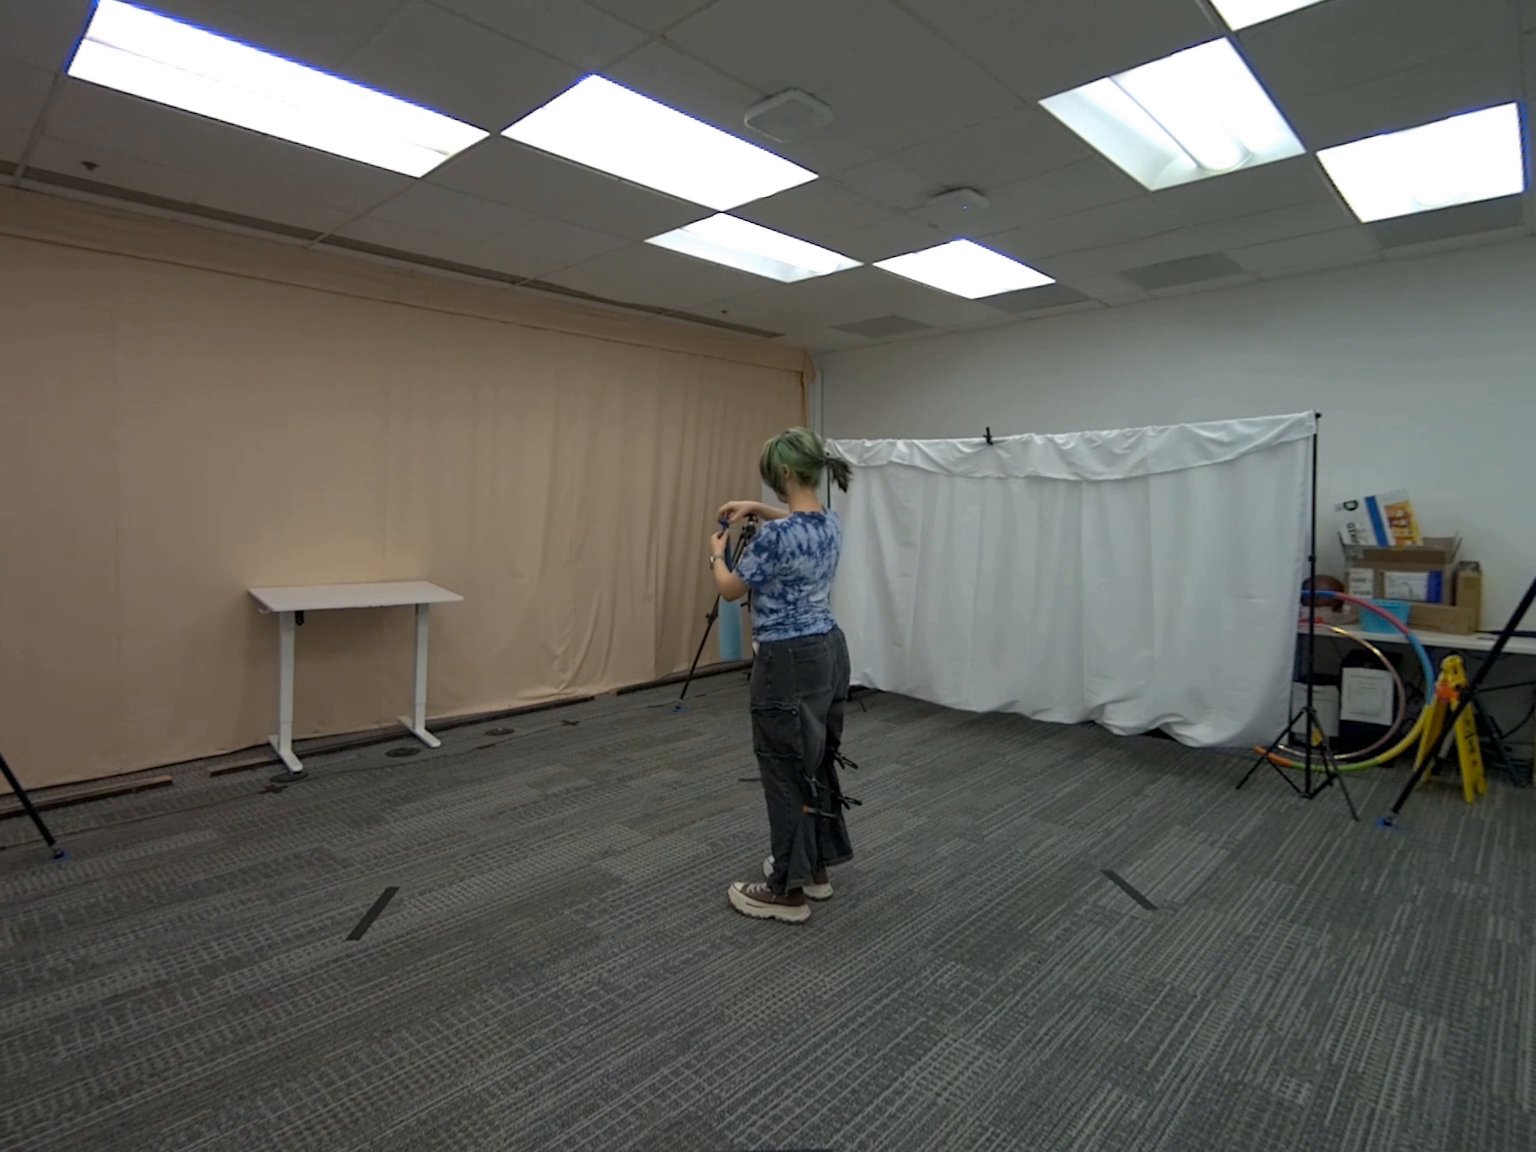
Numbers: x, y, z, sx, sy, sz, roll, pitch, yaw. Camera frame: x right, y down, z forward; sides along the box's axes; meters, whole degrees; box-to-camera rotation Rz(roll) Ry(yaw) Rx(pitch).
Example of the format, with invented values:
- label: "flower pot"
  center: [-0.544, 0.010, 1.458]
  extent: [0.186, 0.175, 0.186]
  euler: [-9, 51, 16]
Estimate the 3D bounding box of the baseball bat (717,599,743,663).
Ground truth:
- label: "baseball bat"
  center: [-0.155, 0.055, 3.194]
  extent: [0.089, 0.542, 0.089]
  euler: [-1, 3, -2]
